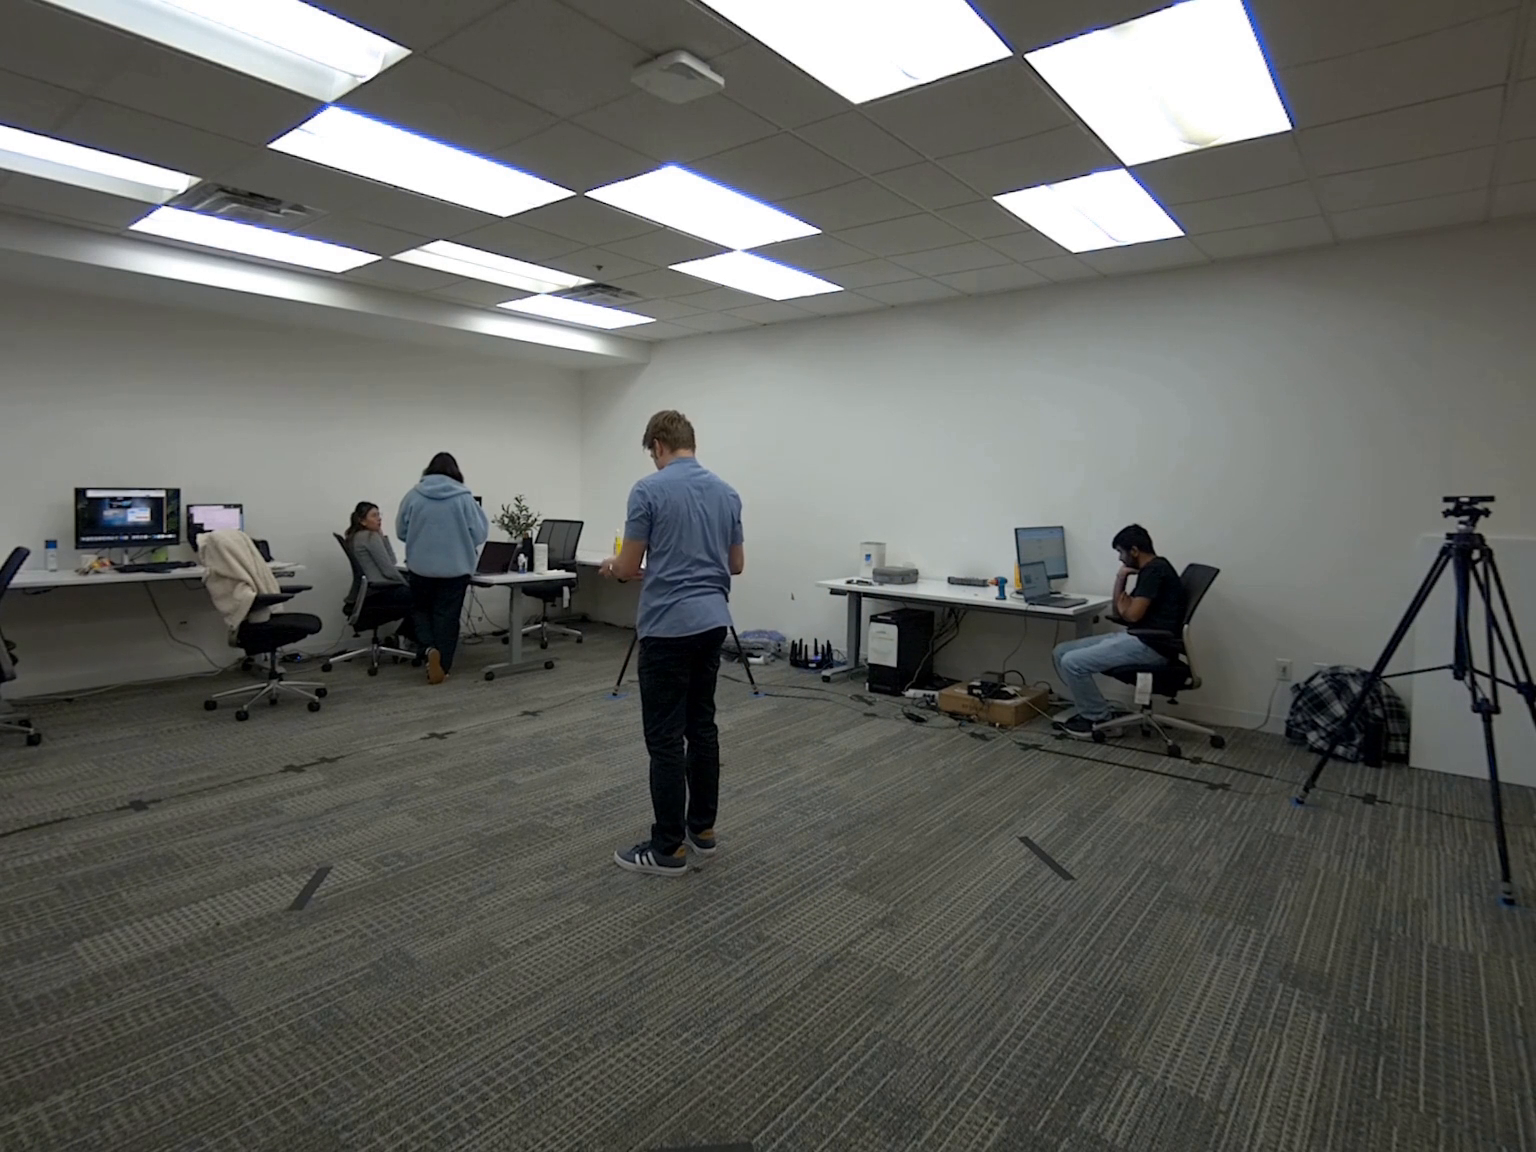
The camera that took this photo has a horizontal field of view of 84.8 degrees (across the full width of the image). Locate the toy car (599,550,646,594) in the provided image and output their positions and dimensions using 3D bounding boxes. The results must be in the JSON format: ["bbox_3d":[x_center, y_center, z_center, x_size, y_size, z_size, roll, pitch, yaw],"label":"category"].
[{"bbox_3d":[-0.564,-0.007,3.516,0.246,0.083,0.135,19,21,-31],"label":"toy car"}]
